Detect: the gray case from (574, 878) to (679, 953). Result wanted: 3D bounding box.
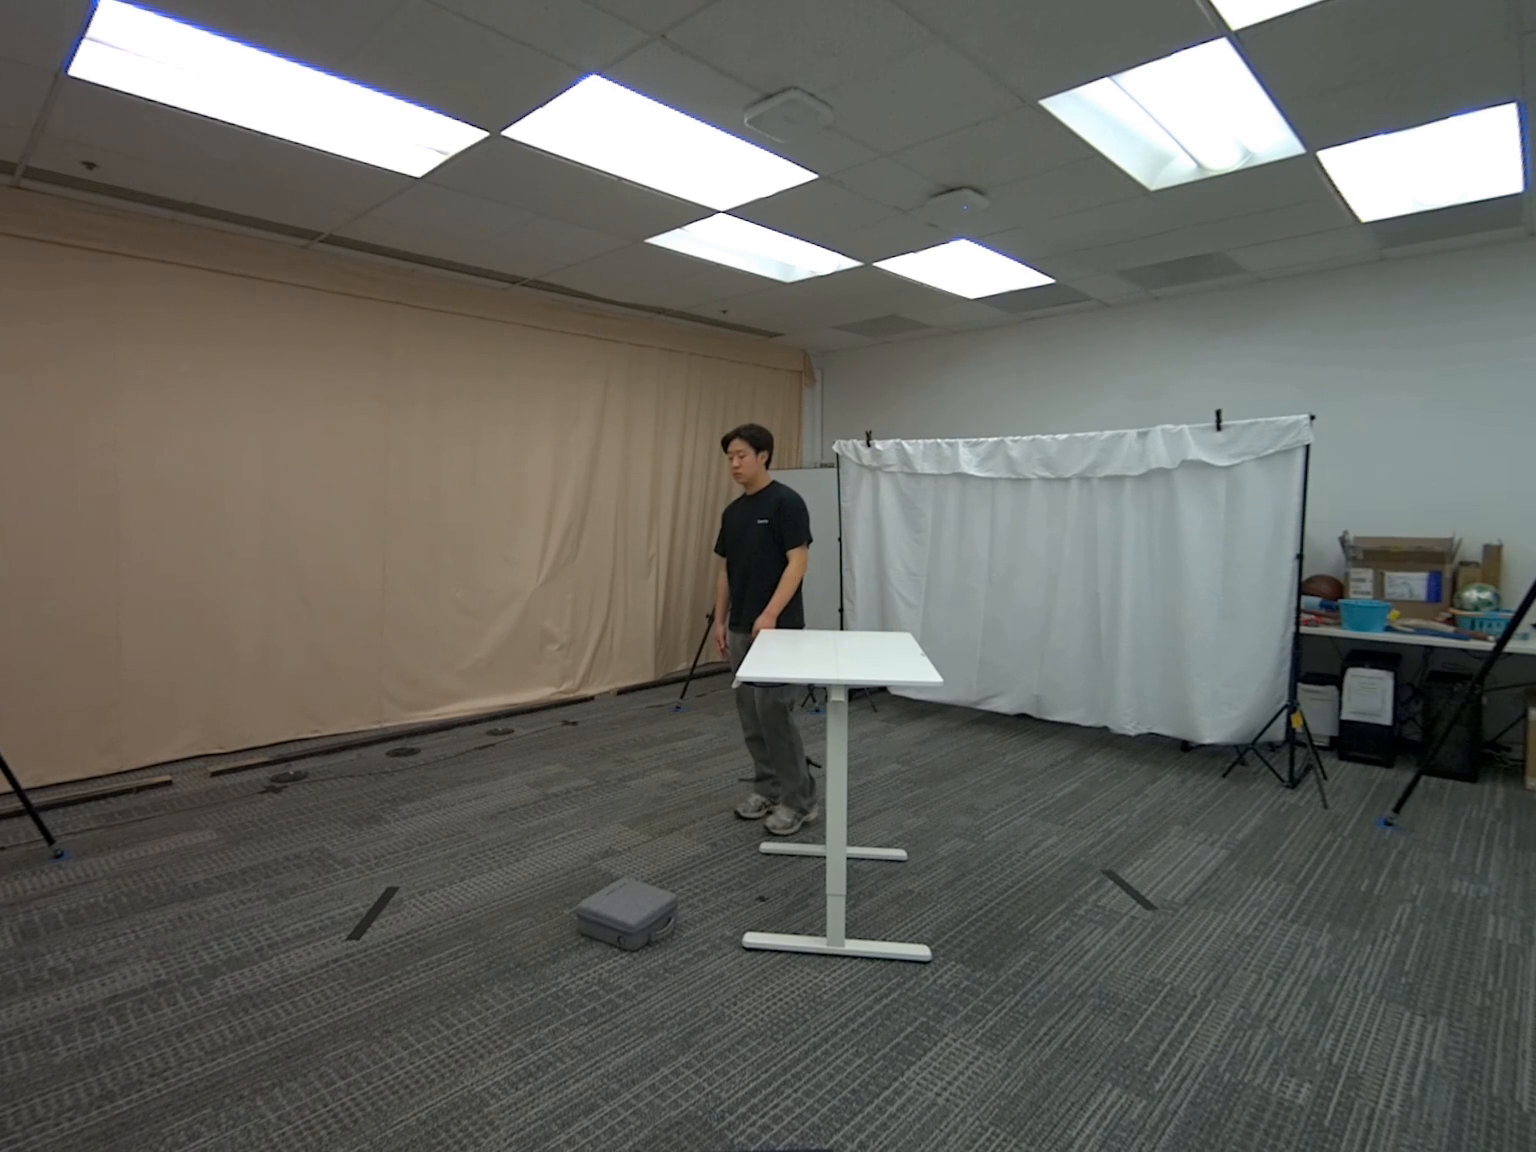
[{"bbox_3d":[-0.452,1.114,2.769,0.296,0.103,0.256,4,7,32],"label":"gray case"}]
